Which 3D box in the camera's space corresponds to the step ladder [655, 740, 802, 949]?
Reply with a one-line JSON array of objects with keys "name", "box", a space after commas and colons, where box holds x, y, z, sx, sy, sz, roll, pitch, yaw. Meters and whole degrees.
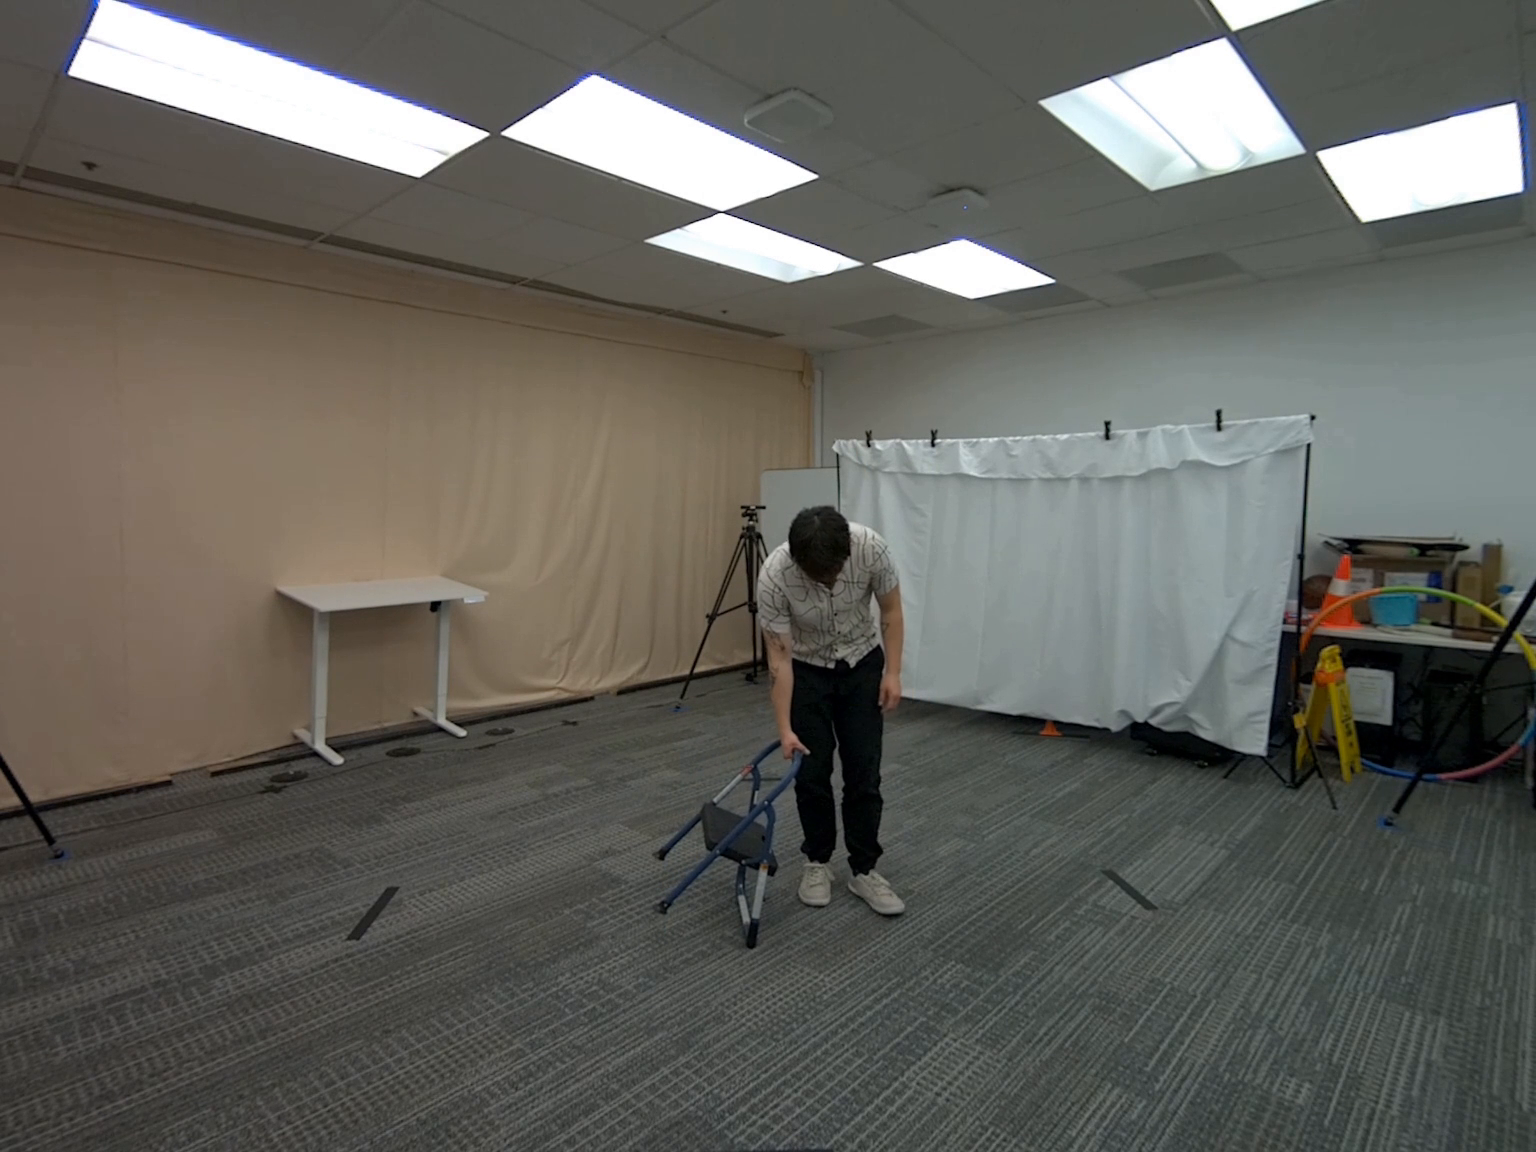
[{"name": "step ladder", "box": [-0.097, 0.823, 2.823, 0.347, 0.606, 0.434, 24, 2, -7]}]
